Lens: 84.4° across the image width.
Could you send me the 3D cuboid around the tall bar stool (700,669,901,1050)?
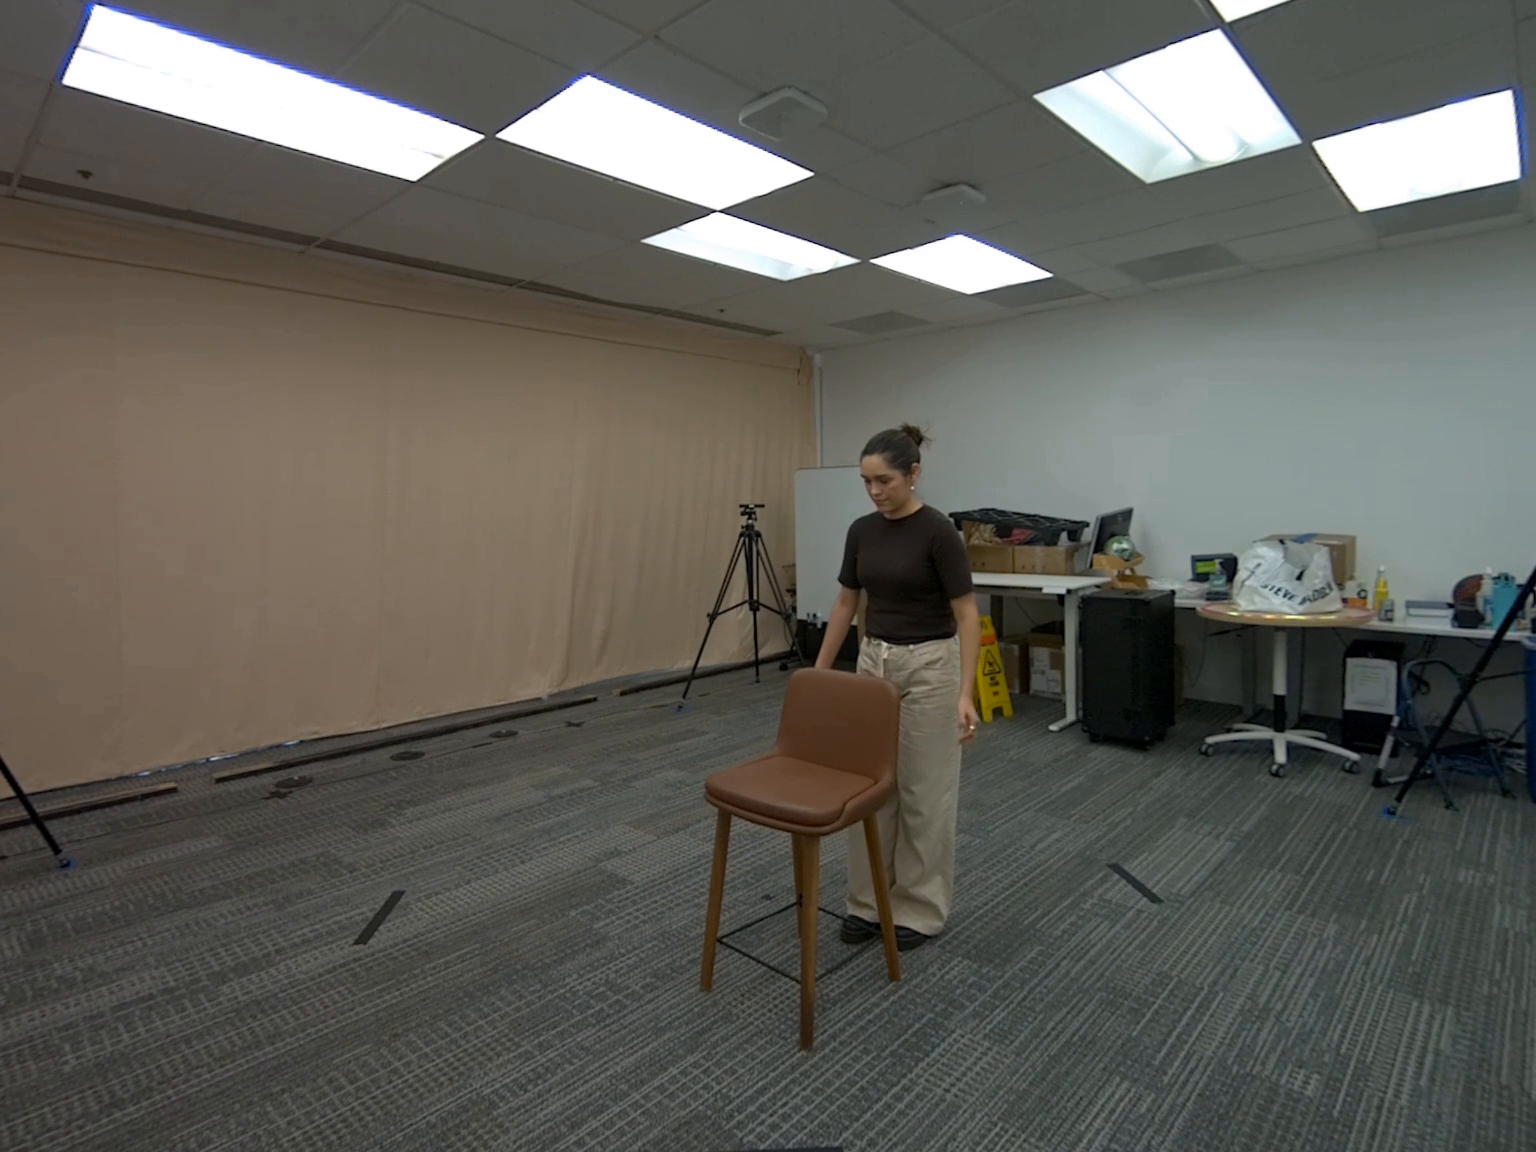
[{"bbox_3d":[0.109,0.747,2.418,0.472,0.888,0.453,3,3,44],"label":"tall bar stool"}]
